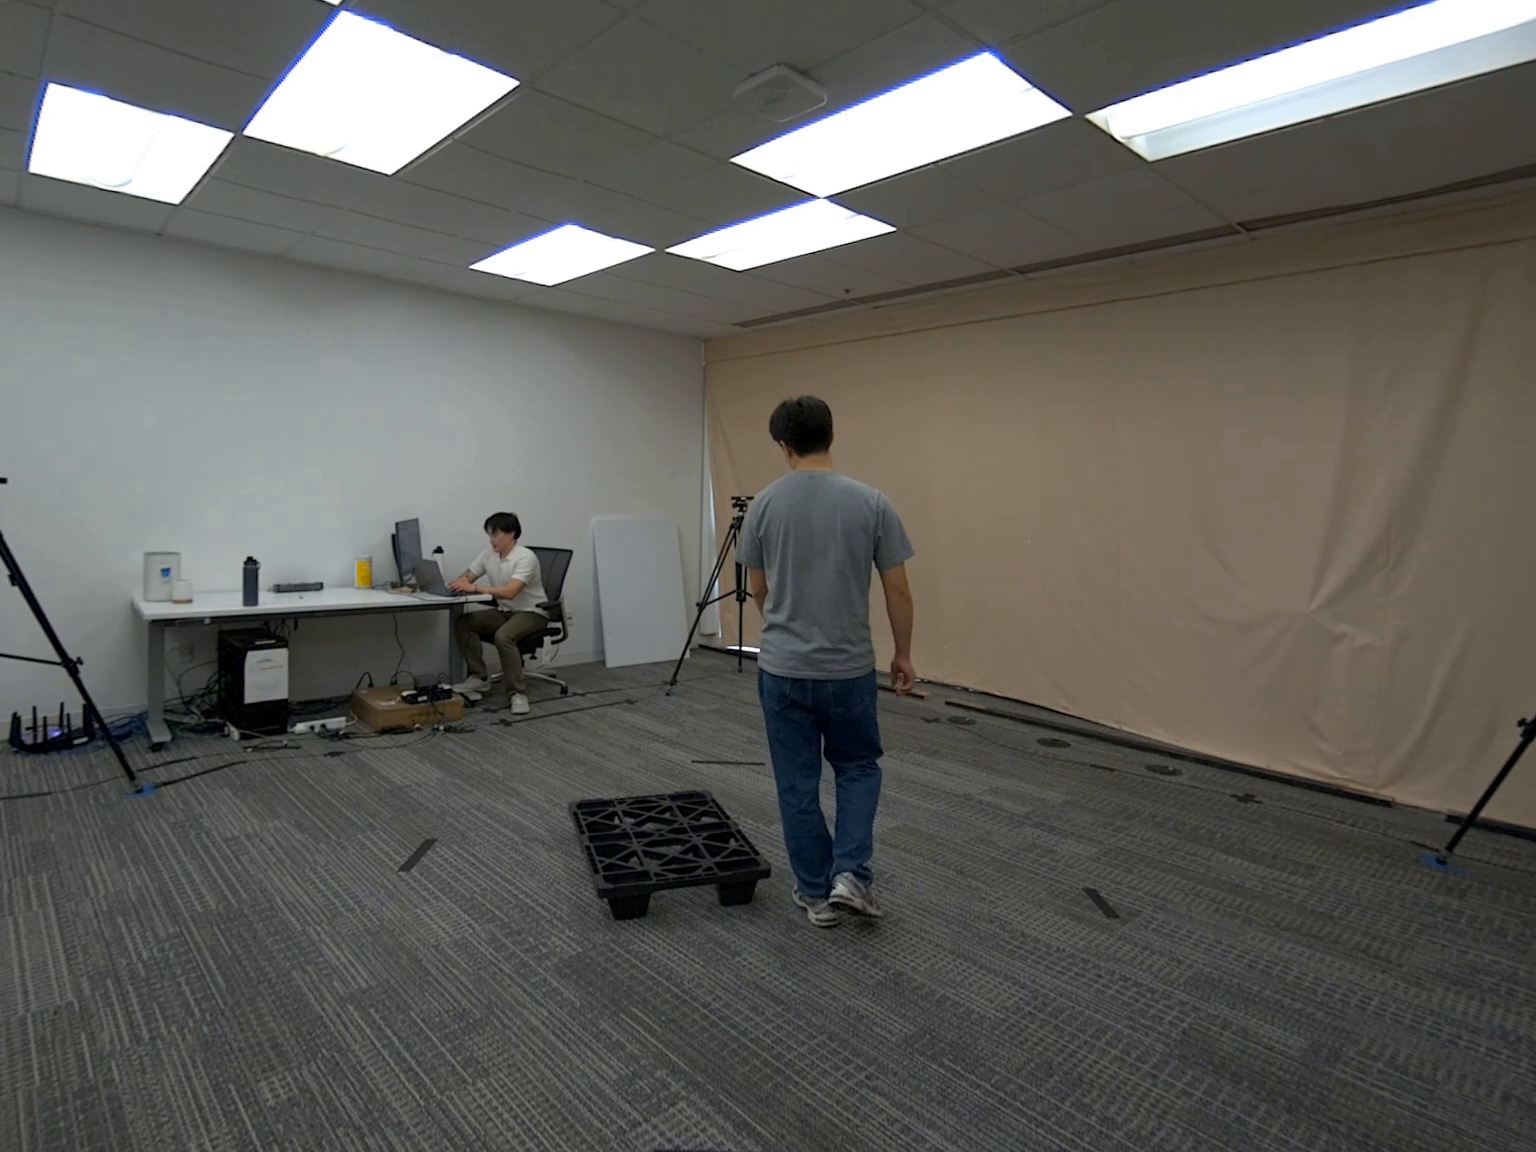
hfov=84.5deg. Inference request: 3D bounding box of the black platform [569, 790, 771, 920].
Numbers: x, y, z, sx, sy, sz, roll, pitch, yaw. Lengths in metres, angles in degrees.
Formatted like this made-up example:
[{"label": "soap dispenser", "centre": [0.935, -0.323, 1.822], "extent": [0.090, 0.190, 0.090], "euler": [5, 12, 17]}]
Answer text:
[{"label": "black platform", "centre": [-0.408, 1.027, 3.170], "extent": [0.596, 0.143, 0.820], "euler": [0, 6, -19]}]
